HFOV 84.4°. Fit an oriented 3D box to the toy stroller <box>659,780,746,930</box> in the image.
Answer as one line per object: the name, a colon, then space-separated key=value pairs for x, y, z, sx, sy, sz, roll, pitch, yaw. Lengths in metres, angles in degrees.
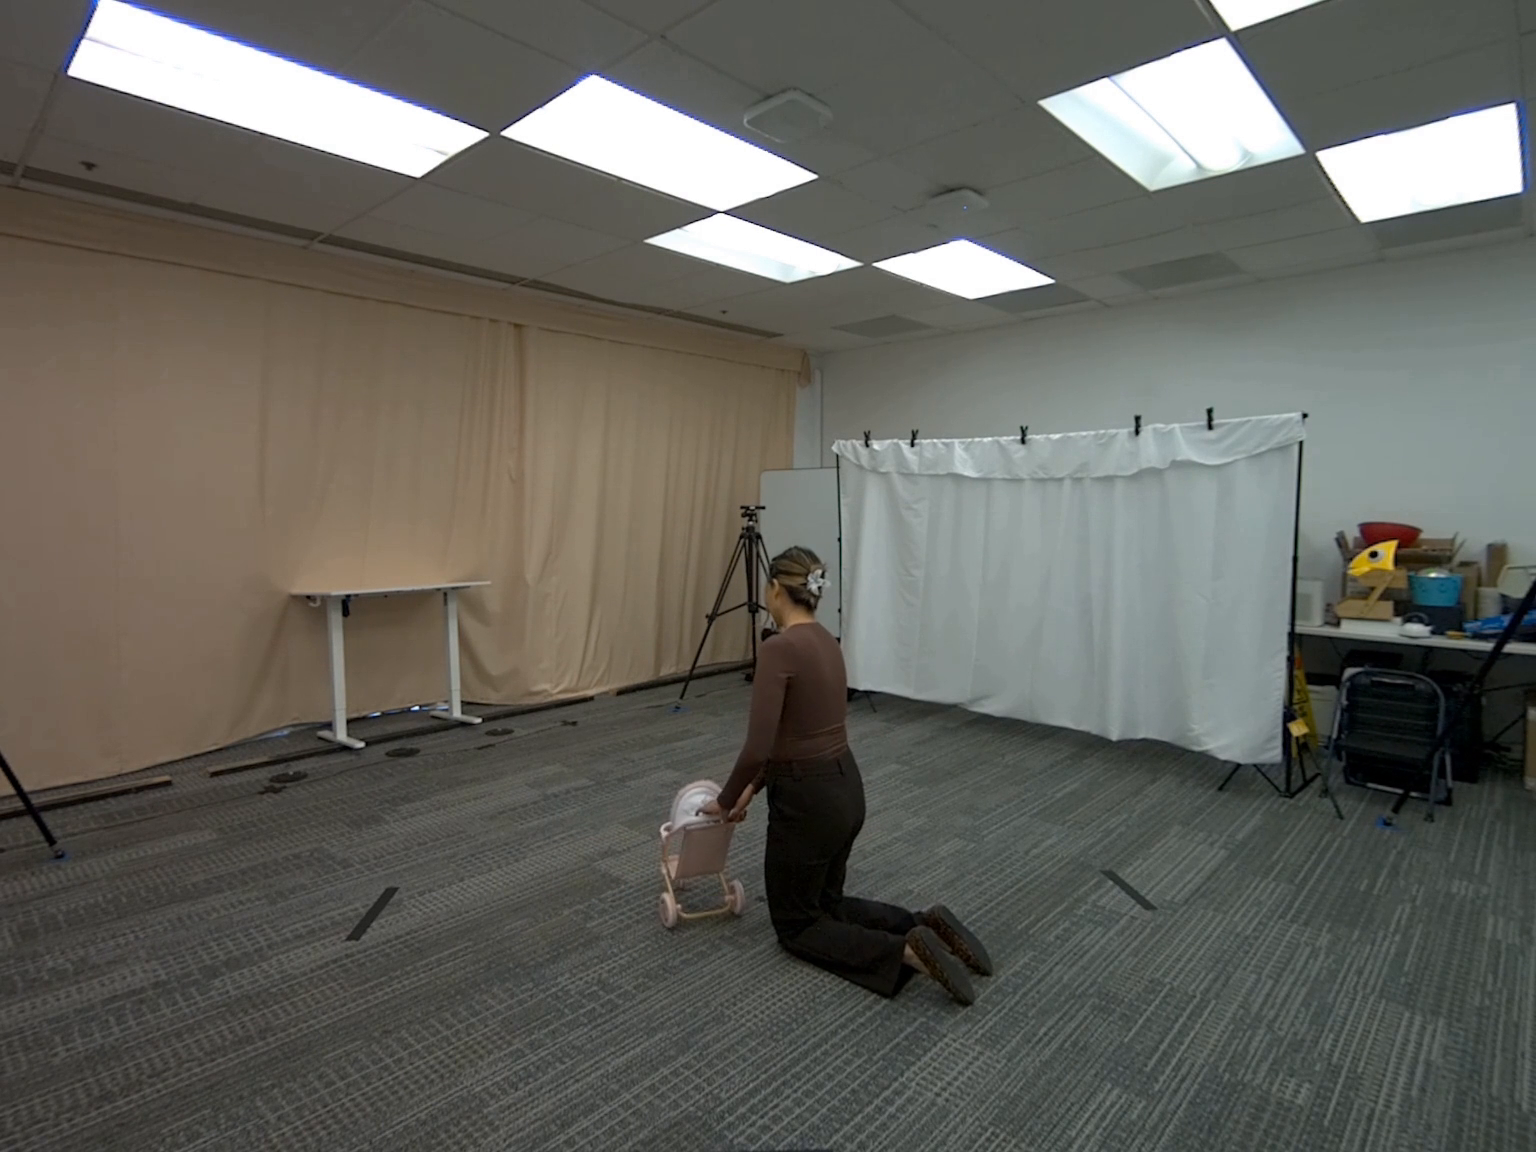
toy stroller: x=-0.239 y=0.929 z=2.888 sx=0.276 sy=0.530 sz=0.351 roll=0 pitch=20 yaw=-18
